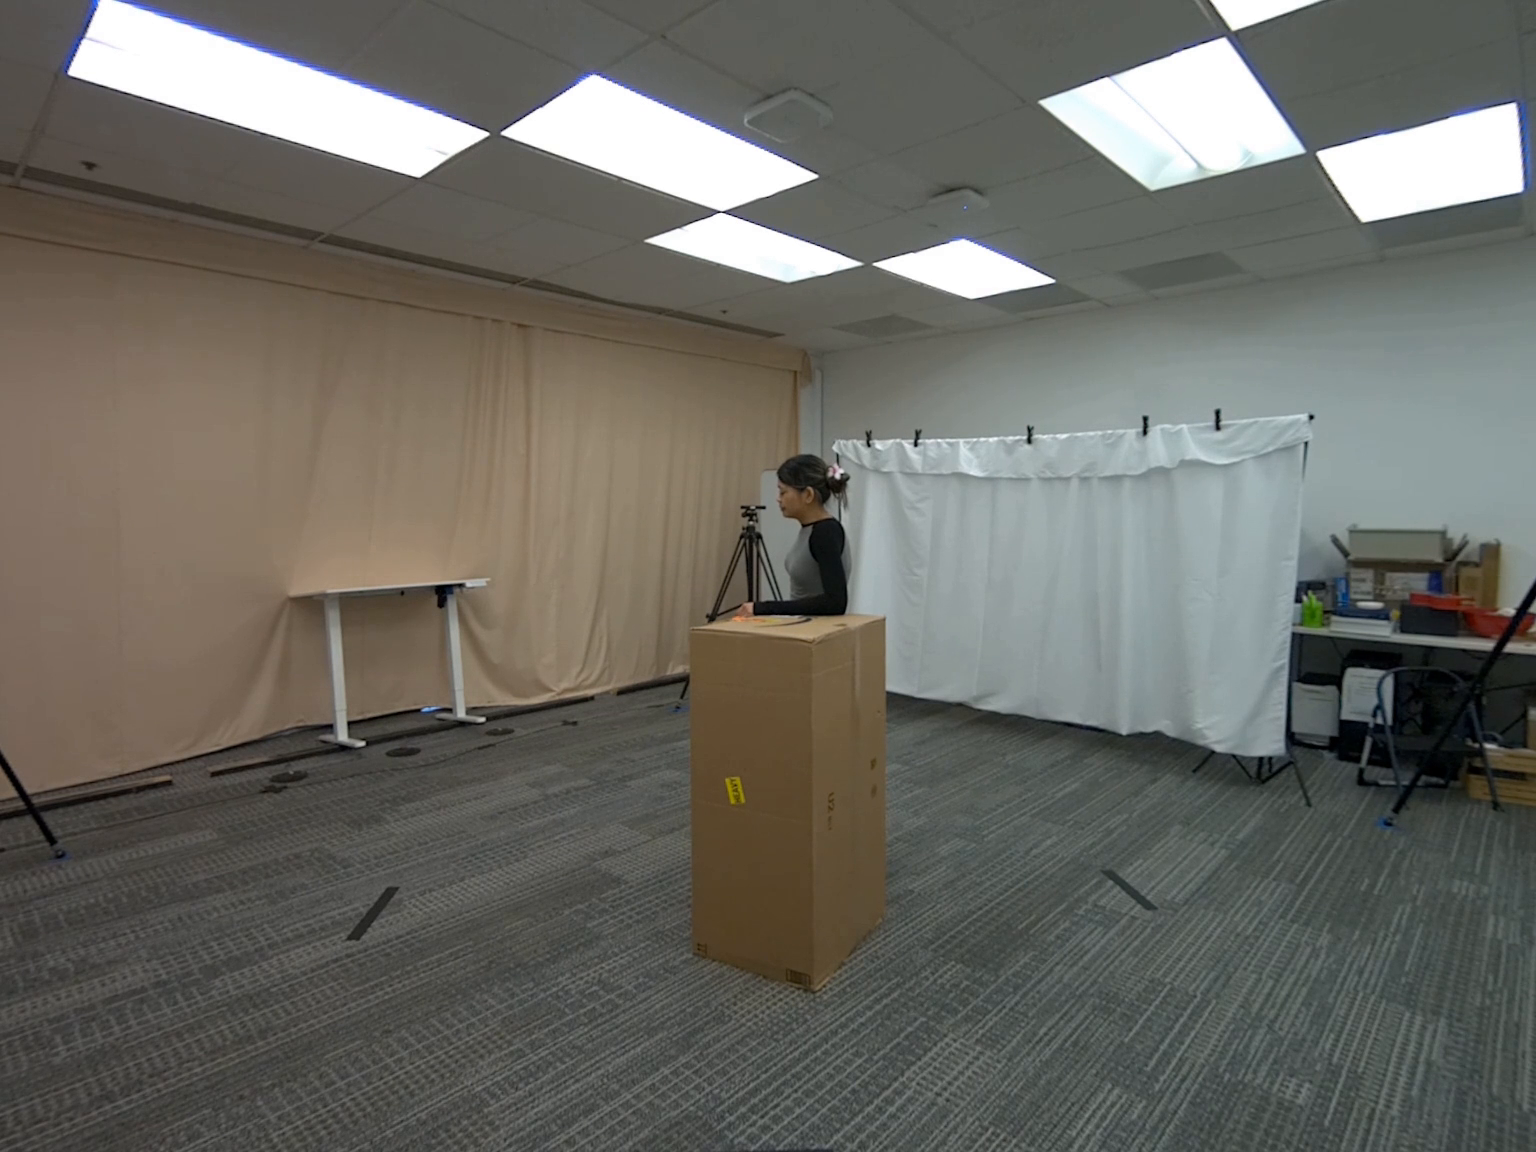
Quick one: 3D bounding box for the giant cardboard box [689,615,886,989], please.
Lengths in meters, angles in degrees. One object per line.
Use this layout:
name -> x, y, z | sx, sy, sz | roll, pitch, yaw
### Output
giant cardboard box -> 0.082, 0.657, 2.725 | 0.439, 1.024, 0.562 | 1, 3, 31
